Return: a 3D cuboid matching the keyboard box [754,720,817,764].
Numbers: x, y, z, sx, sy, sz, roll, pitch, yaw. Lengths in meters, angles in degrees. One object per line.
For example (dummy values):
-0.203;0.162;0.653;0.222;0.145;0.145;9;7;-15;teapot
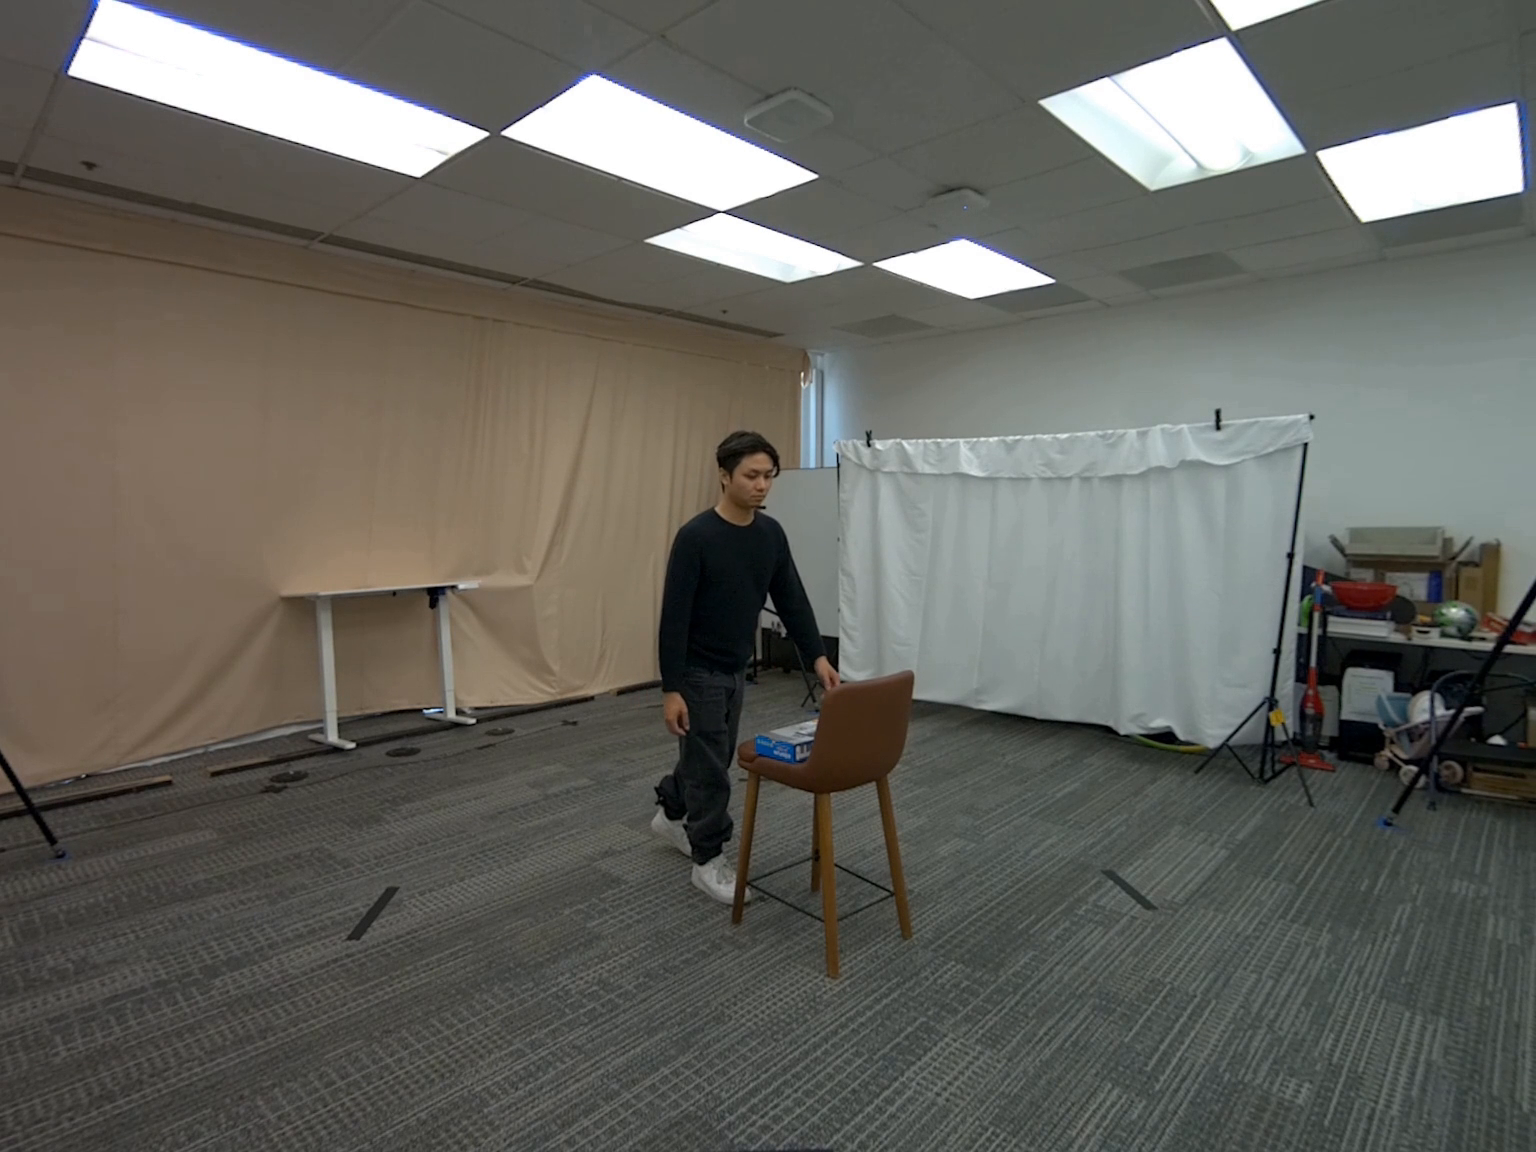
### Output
0.169;0.510;2.734;0.423;0.059;0.182;-5;4;-44;keyboard box
